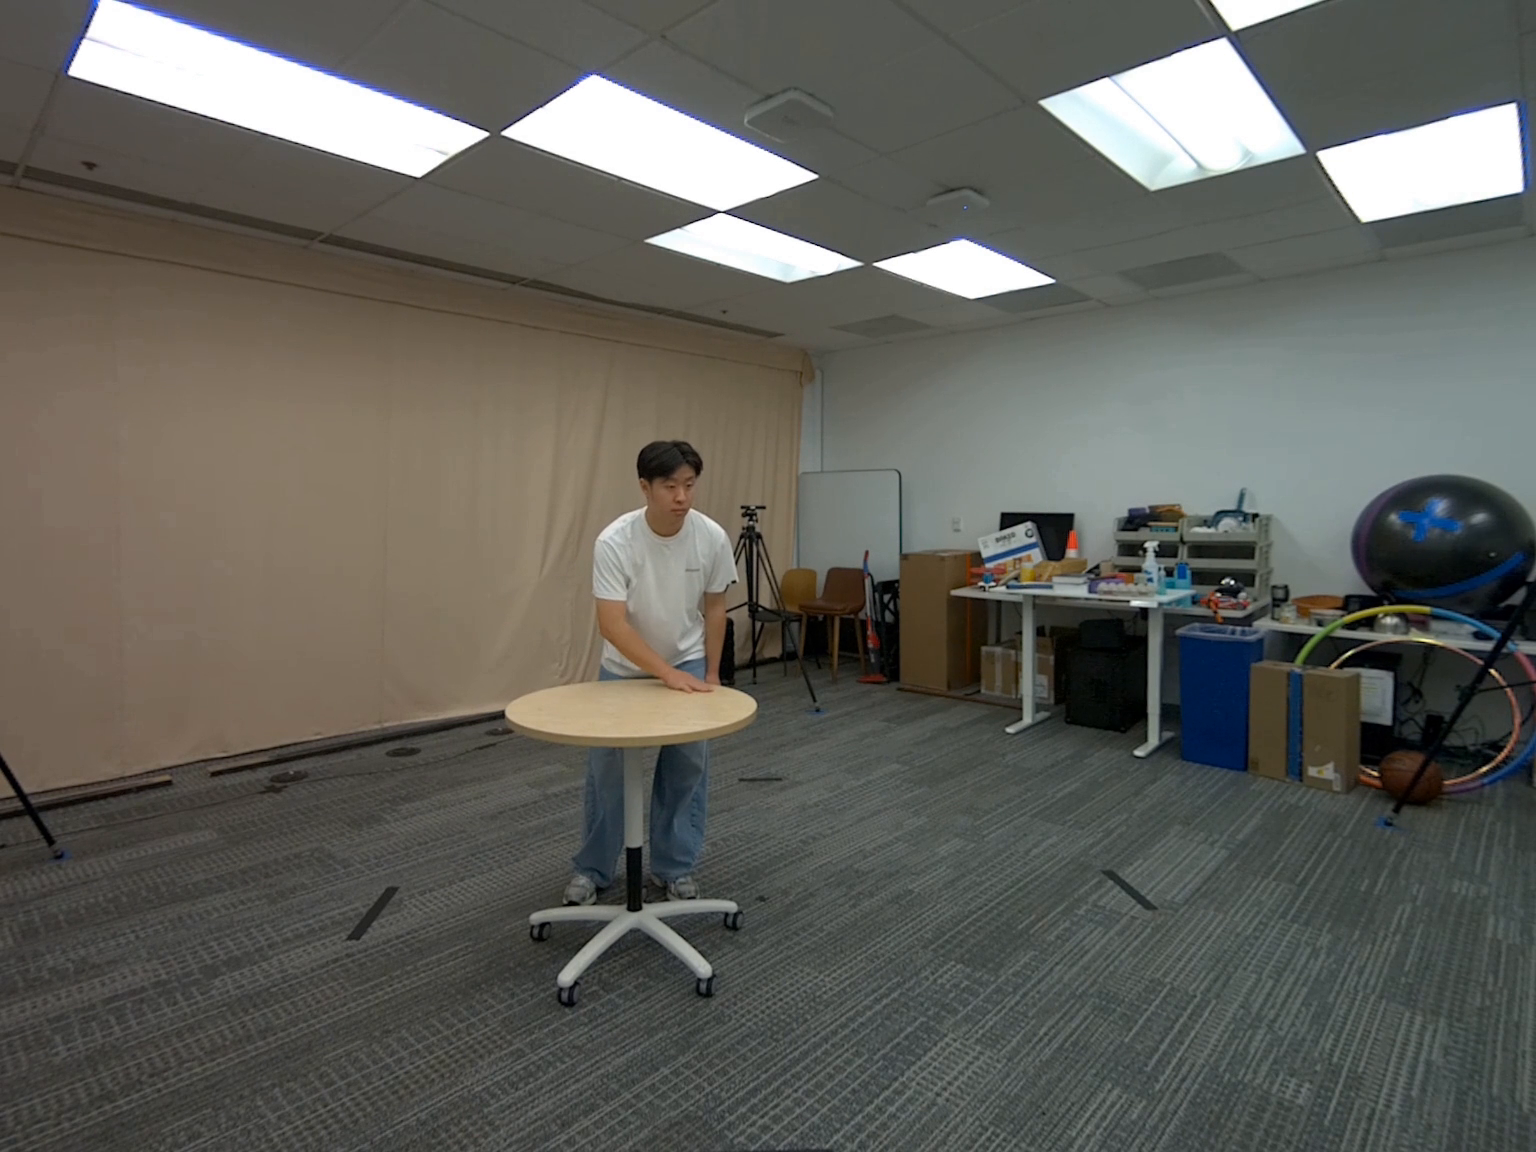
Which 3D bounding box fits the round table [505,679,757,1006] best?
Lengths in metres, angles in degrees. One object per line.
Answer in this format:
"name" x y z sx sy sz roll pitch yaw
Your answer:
"round table" -0.405 0.785 2.609 0.763 0.792 0.766 0 4 -2
